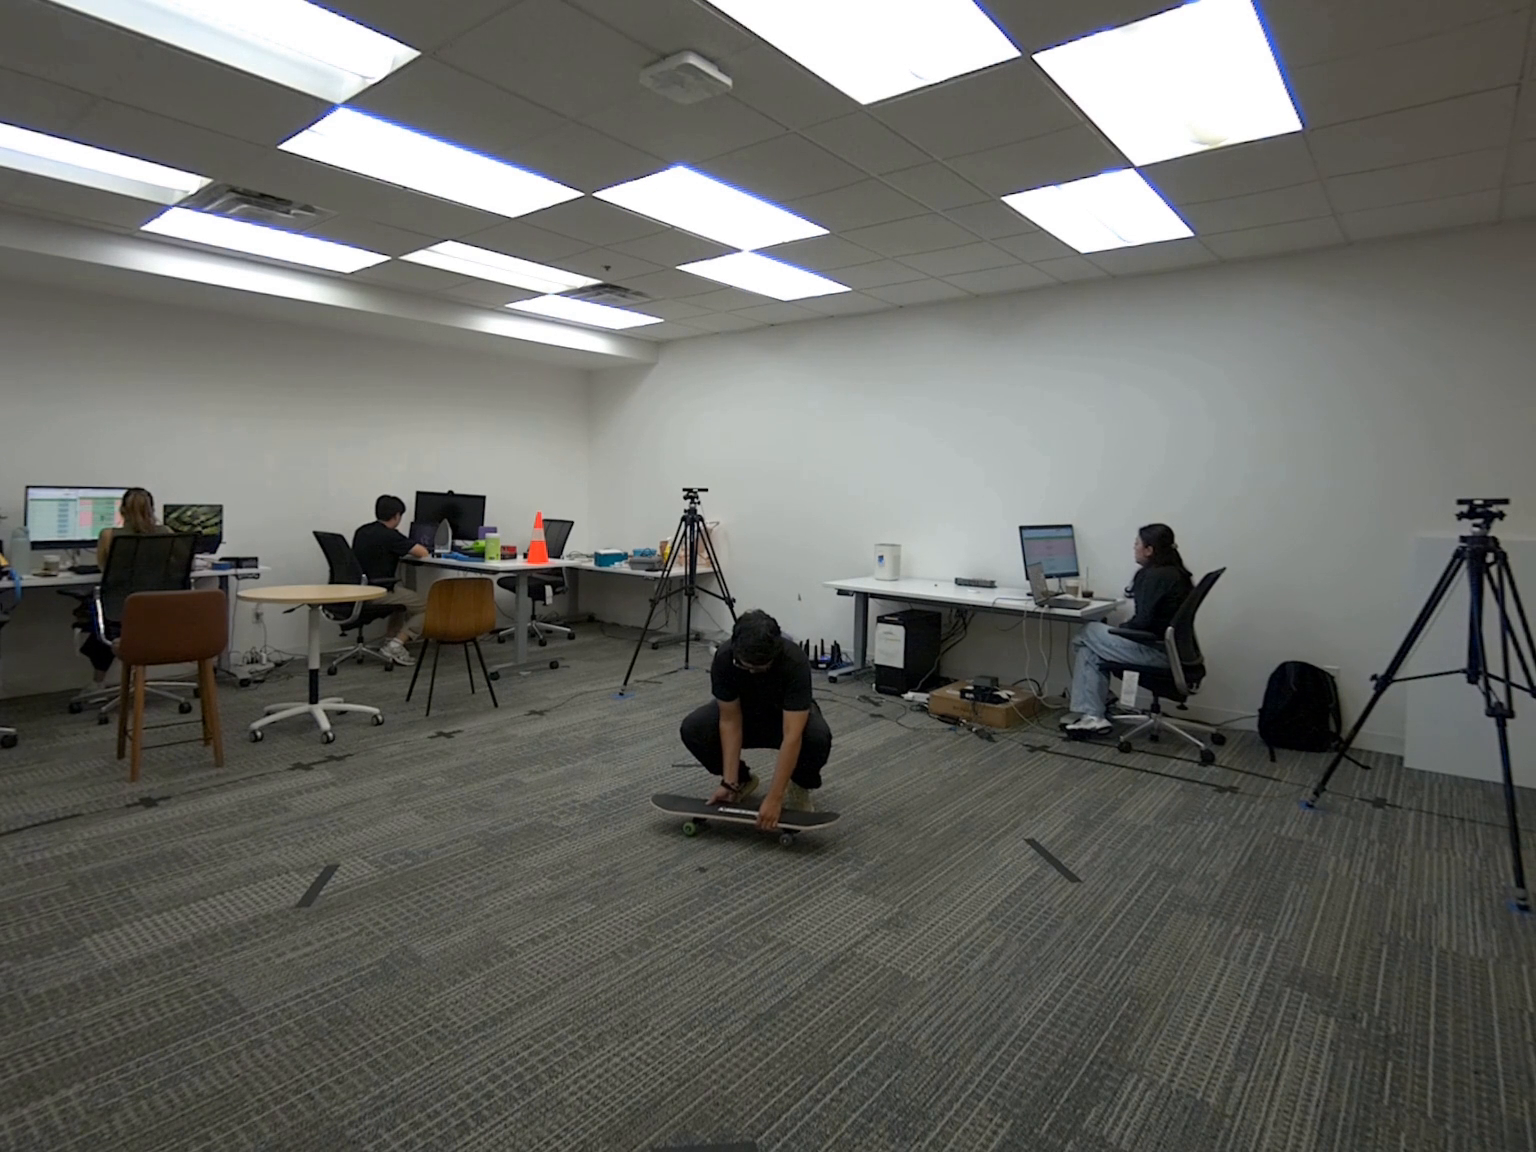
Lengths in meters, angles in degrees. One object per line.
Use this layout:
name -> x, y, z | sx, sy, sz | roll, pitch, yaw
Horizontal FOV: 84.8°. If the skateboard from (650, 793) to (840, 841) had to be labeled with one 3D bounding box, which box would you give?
skateboard -> -0.115, 0.972, 3.410 | 0.799, 0.110, 0.190 | 1, 4, 16
